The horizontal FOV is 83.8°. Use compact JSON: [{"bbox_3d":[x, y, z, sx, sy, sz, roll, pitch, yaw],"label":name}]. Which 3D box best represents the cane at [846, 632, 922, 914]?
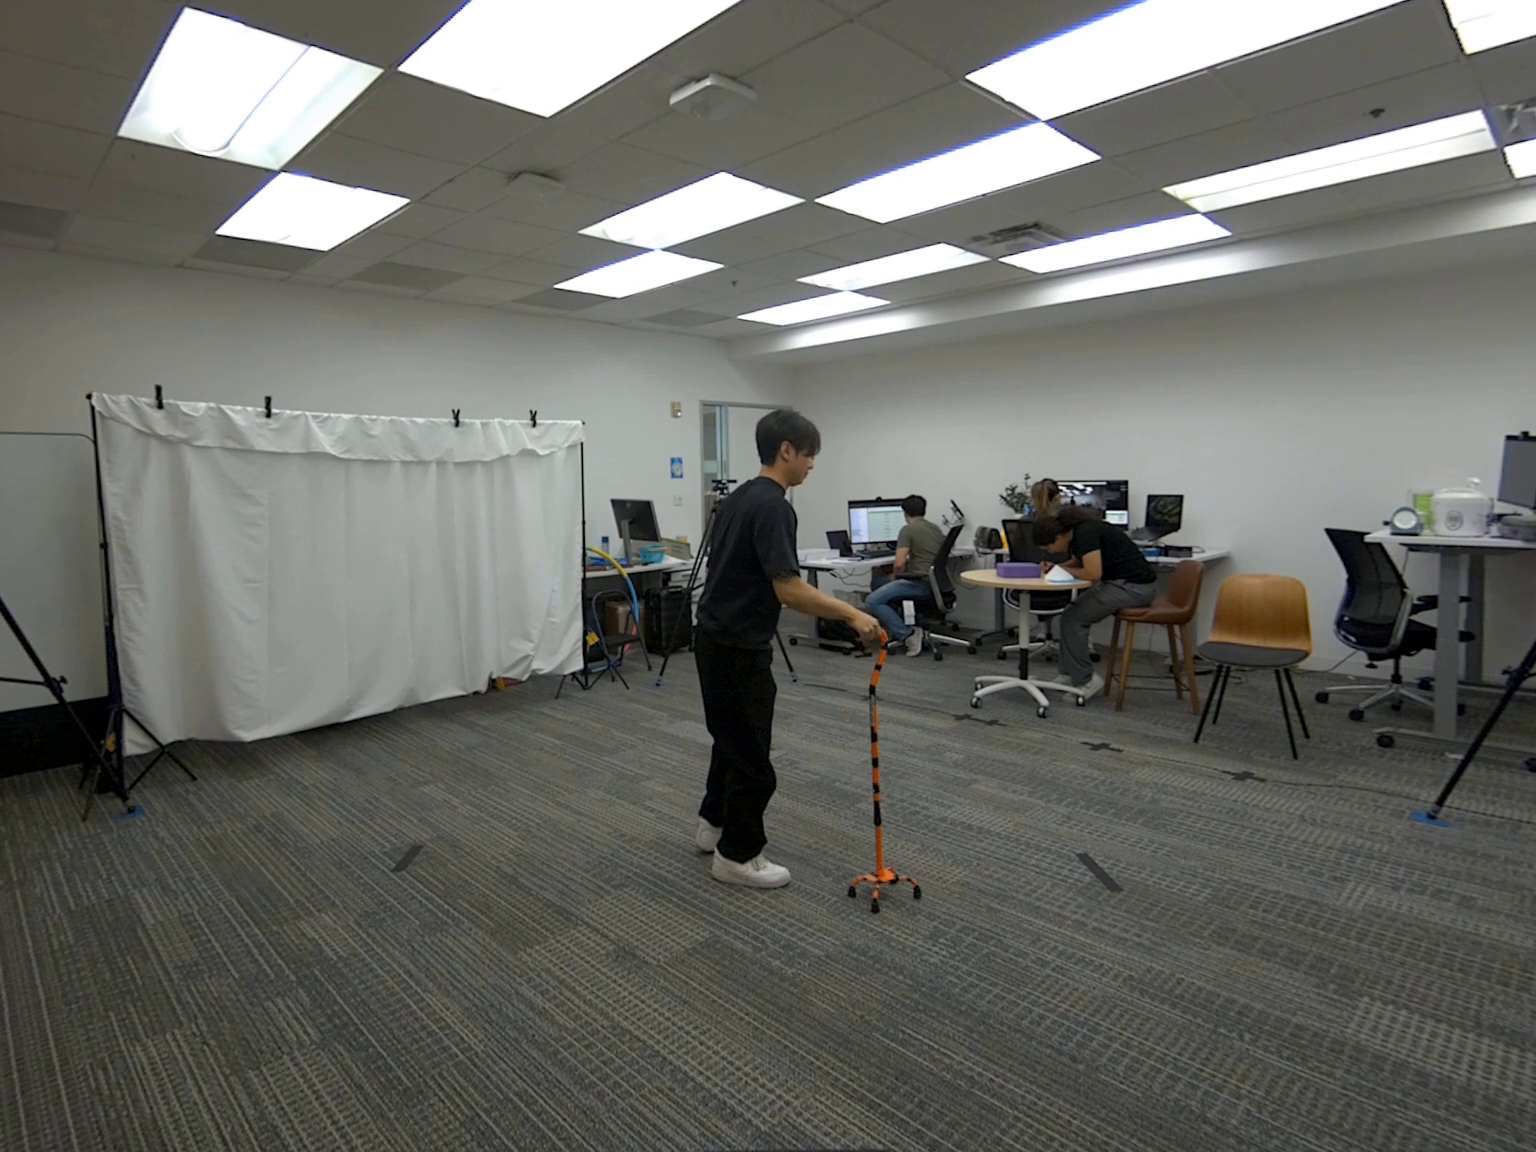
[{"bbox_3d":[0.372,0.617,2.818,0.202,0.905,0.156,-4,4,-30],"label":"cane"}]
